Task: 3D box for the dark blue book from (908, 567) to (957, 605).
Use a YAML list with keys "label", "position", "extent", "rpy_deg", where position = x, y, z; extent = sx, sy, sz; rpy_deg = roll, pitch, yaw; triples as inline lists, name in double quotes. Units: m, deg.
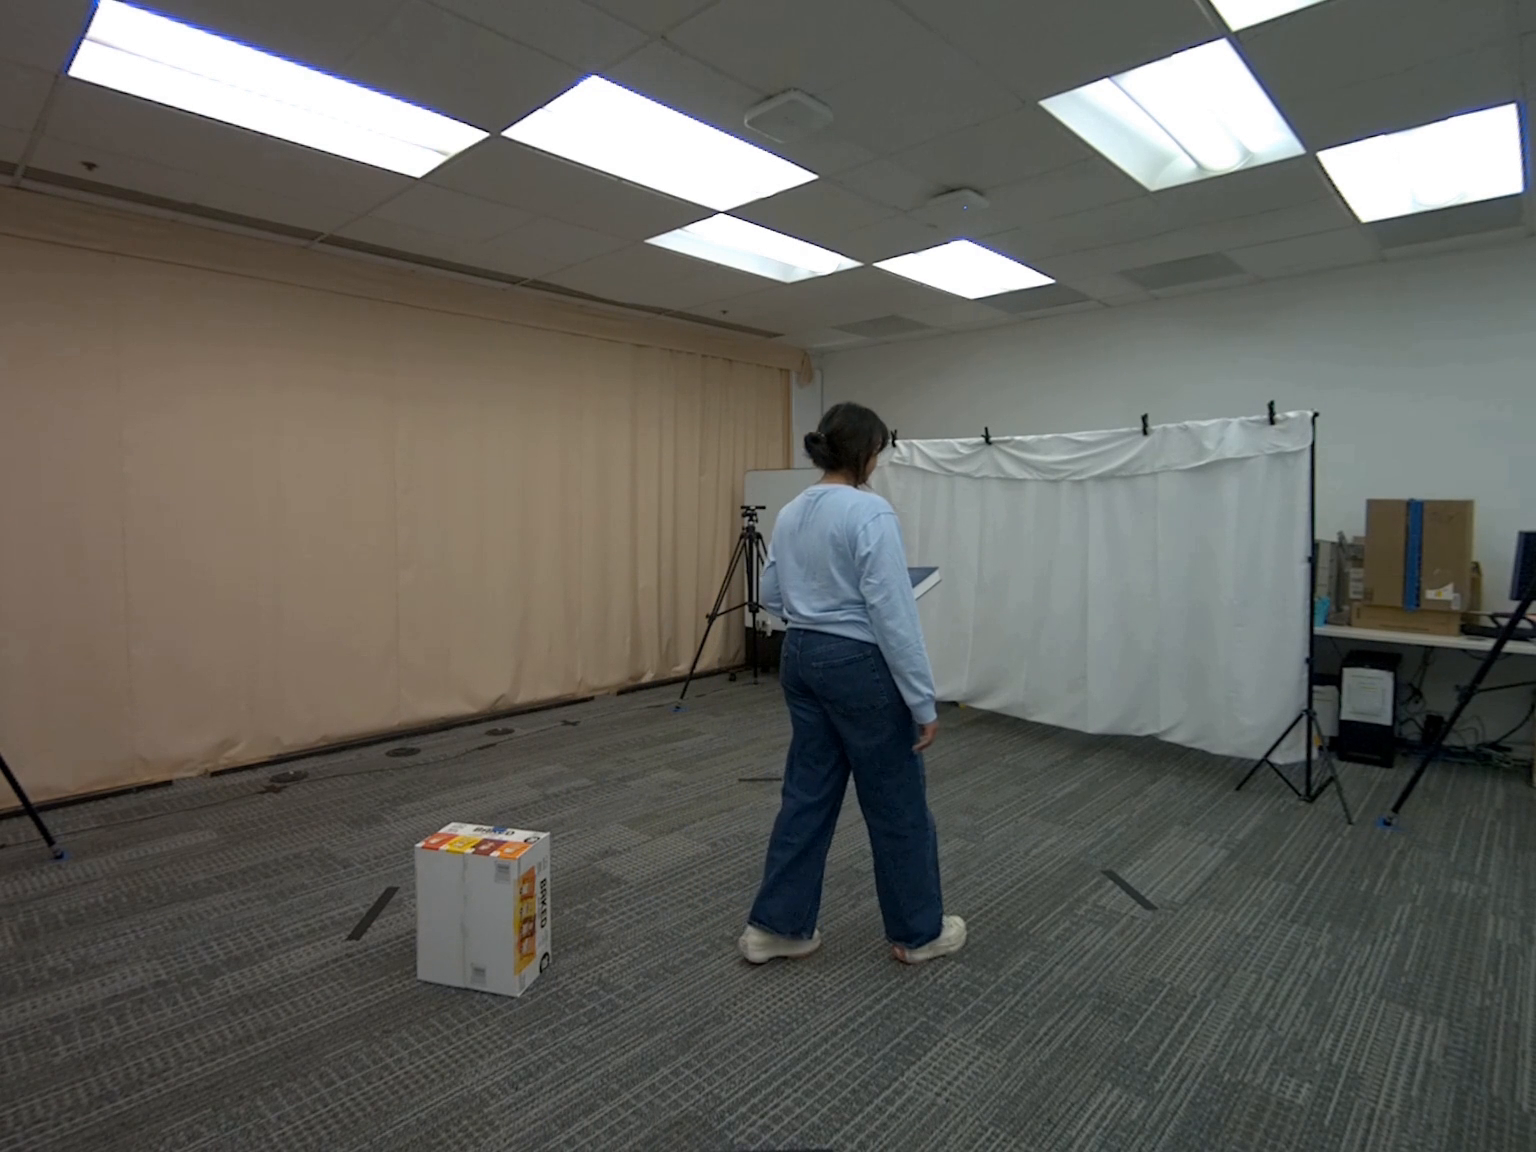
- label: "dark blue book"
  position: [0.486, 0.028, 2.780]
  extent: [0.168, 0.045, 0.240]
  rpy_deg: [0, 19, 39]
